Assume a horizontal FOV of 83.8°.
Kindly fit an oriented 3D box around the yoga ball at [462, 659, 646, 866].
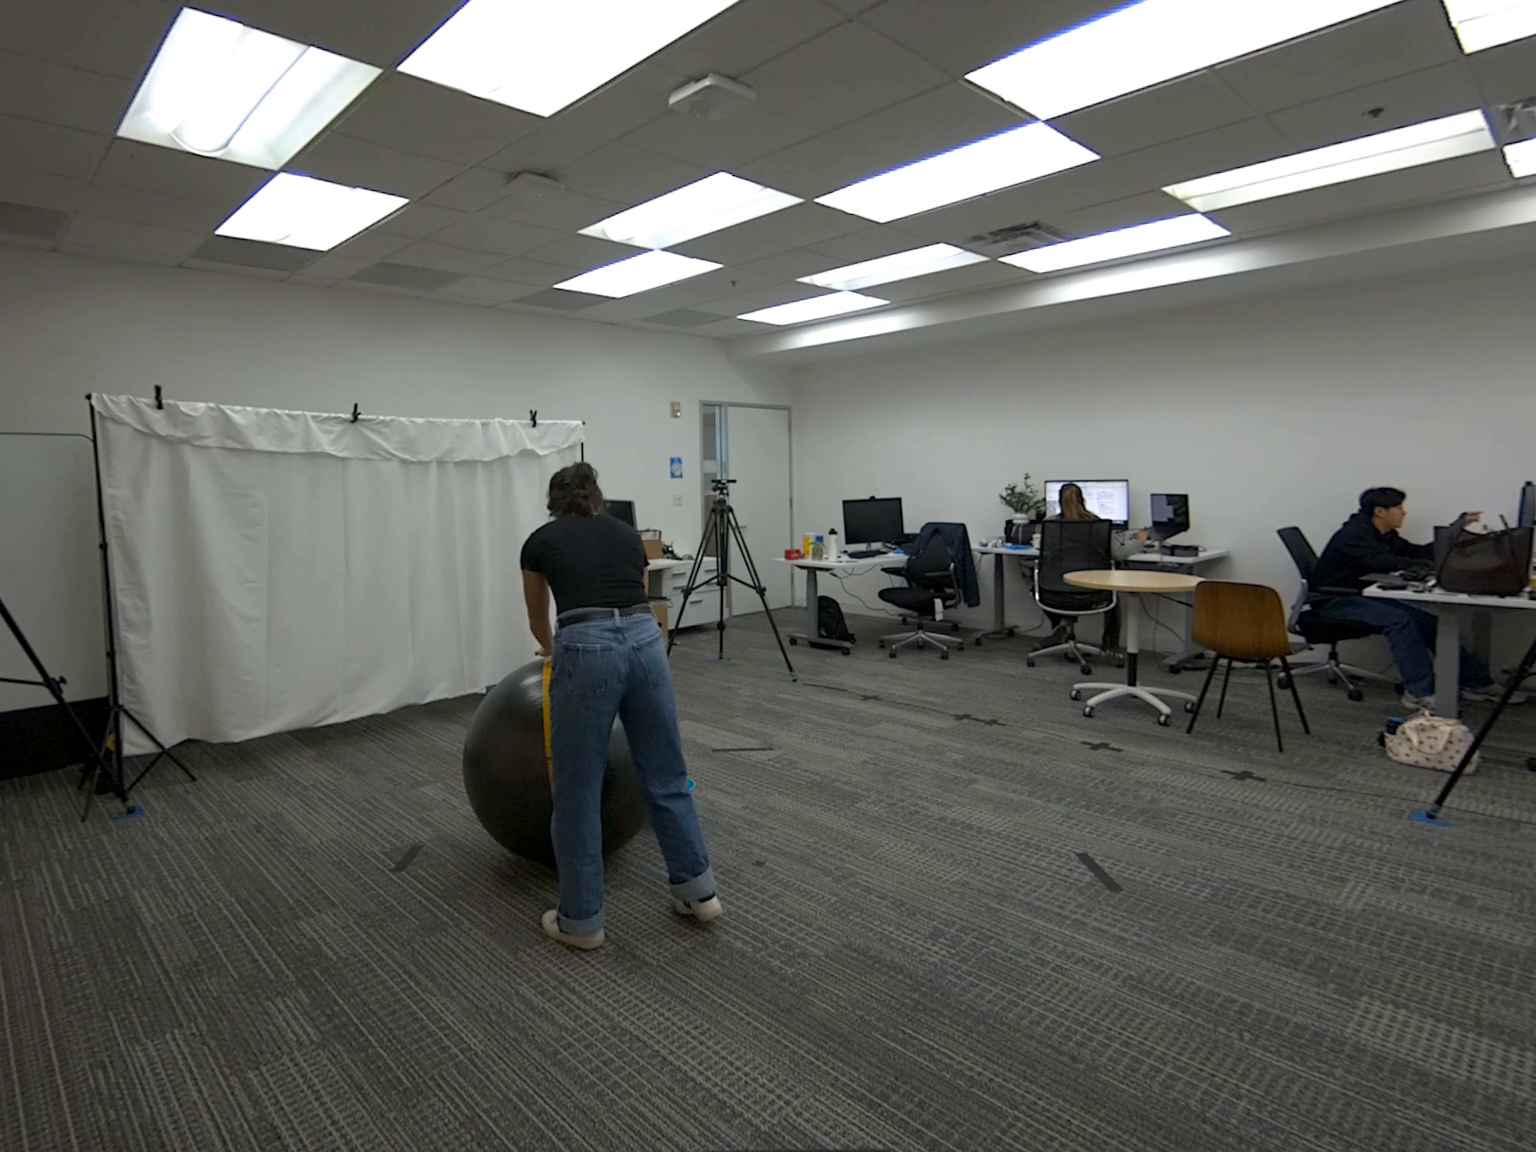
[{"bbox_3d":[-0.752,0.679,3.192,0.757,0.755,0.762,-1,5,-2],"label":"yoga ball"}]
